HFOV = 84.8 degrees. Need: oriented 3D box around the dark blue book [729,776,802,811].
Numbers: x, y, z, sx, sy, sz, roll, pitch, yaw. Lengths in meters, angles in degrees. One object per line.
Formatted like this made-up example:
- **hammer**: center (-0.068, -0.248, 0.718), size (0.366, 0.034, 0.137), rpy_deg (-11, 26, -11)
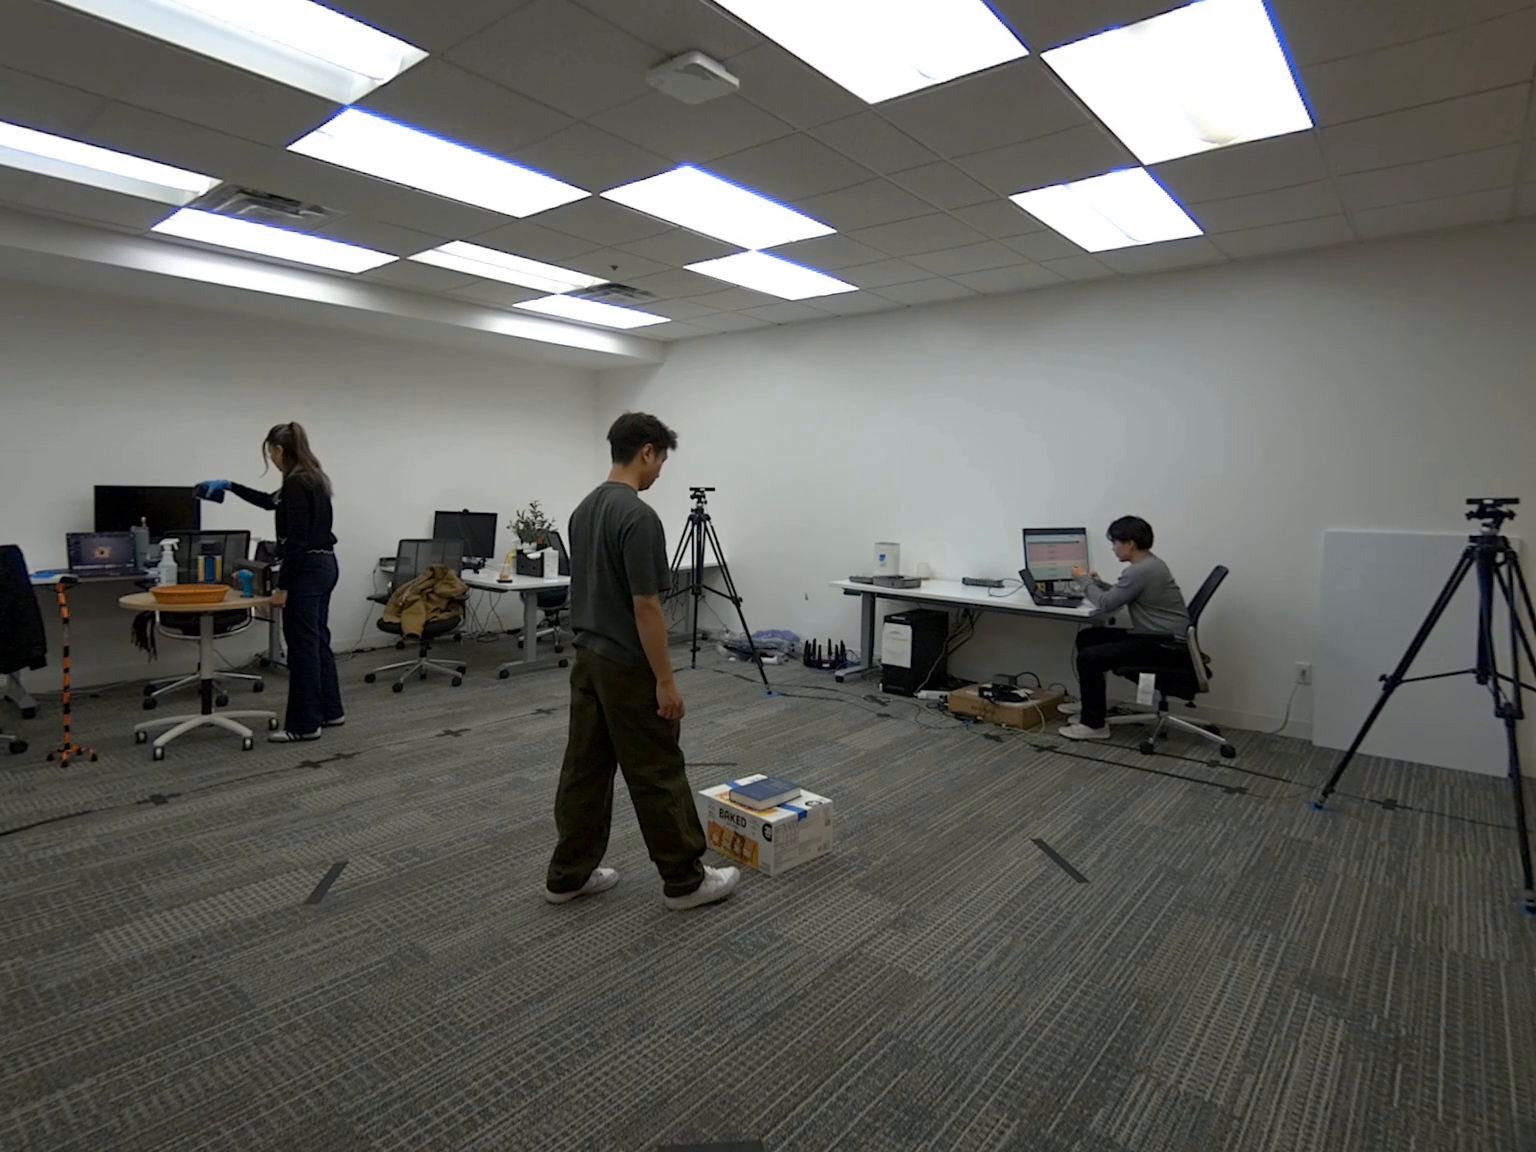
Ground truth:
- **dark blue book**: center (-0.008, 0.842, 3.297), size (0.169, 0.045, 0.238), rpy_deg (6, 7, 44)
